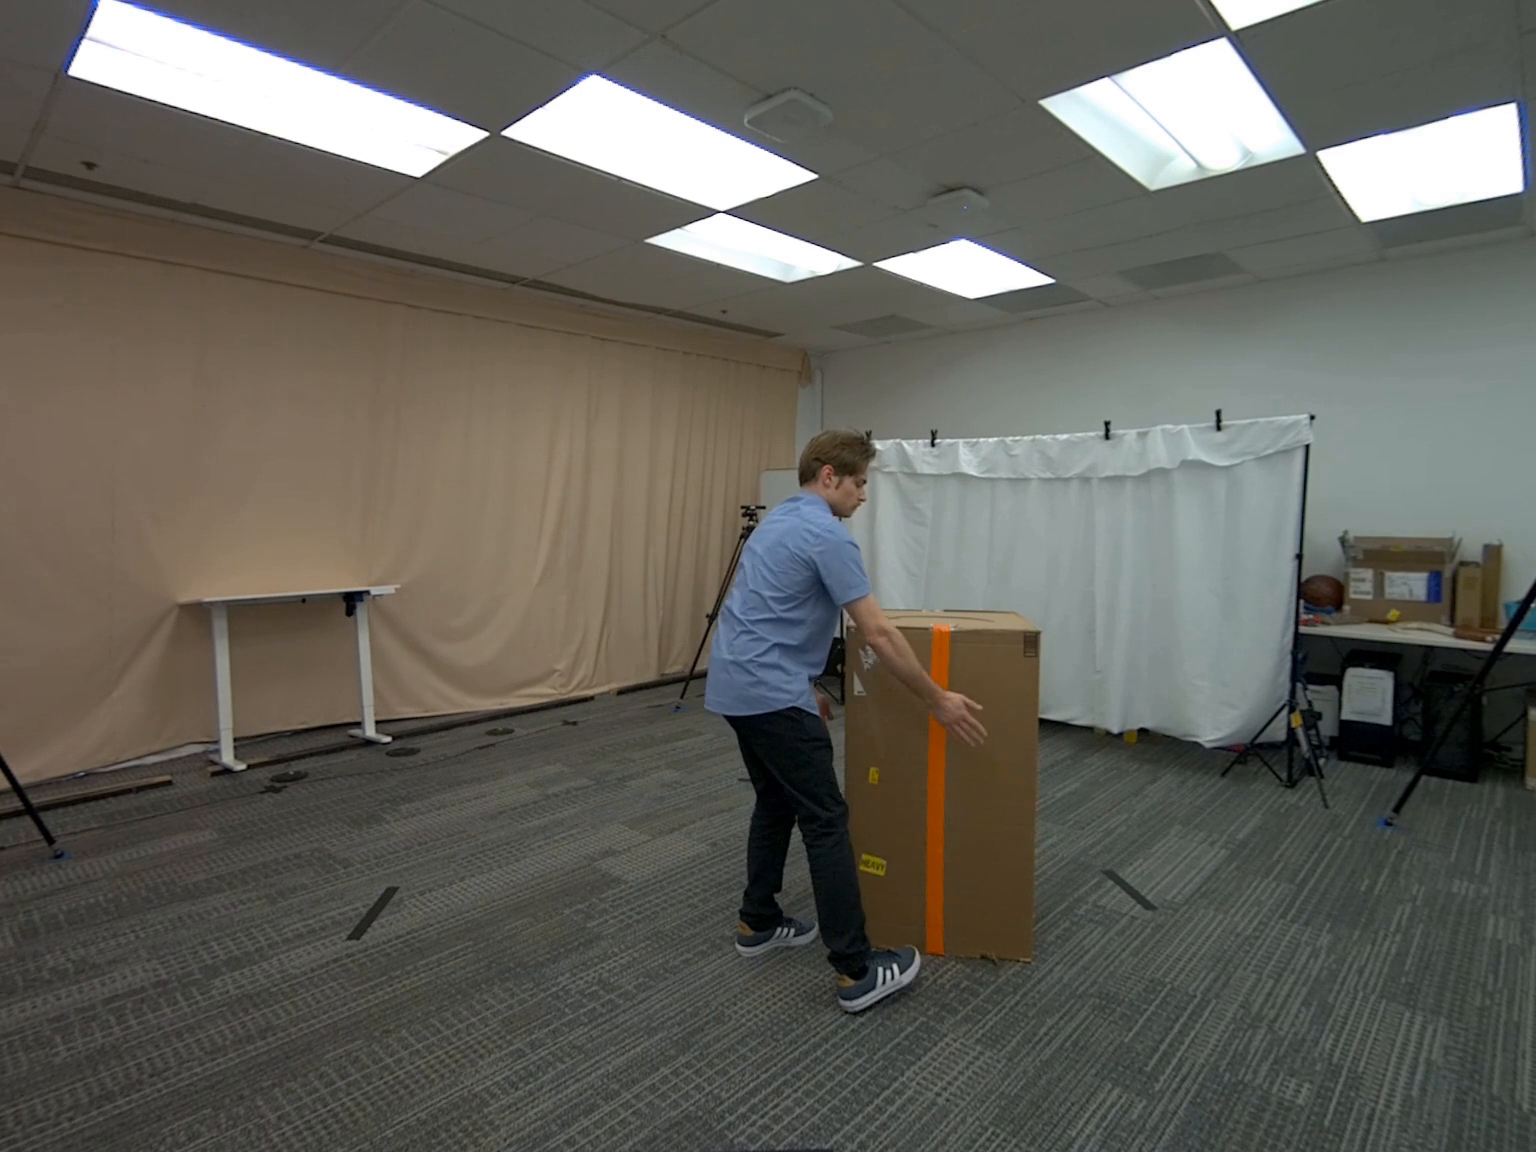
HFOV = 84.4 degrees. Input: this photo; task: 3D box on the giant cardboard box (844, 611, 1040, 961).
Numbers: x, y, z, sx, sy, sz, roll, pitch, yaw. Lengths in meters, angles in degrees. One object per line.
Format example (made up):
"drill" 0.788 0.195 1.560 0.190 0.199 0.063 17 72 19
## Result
"giant cardboard box" 0.559 0.650 2.791 0.585 1.023 0.422 1 4 11
